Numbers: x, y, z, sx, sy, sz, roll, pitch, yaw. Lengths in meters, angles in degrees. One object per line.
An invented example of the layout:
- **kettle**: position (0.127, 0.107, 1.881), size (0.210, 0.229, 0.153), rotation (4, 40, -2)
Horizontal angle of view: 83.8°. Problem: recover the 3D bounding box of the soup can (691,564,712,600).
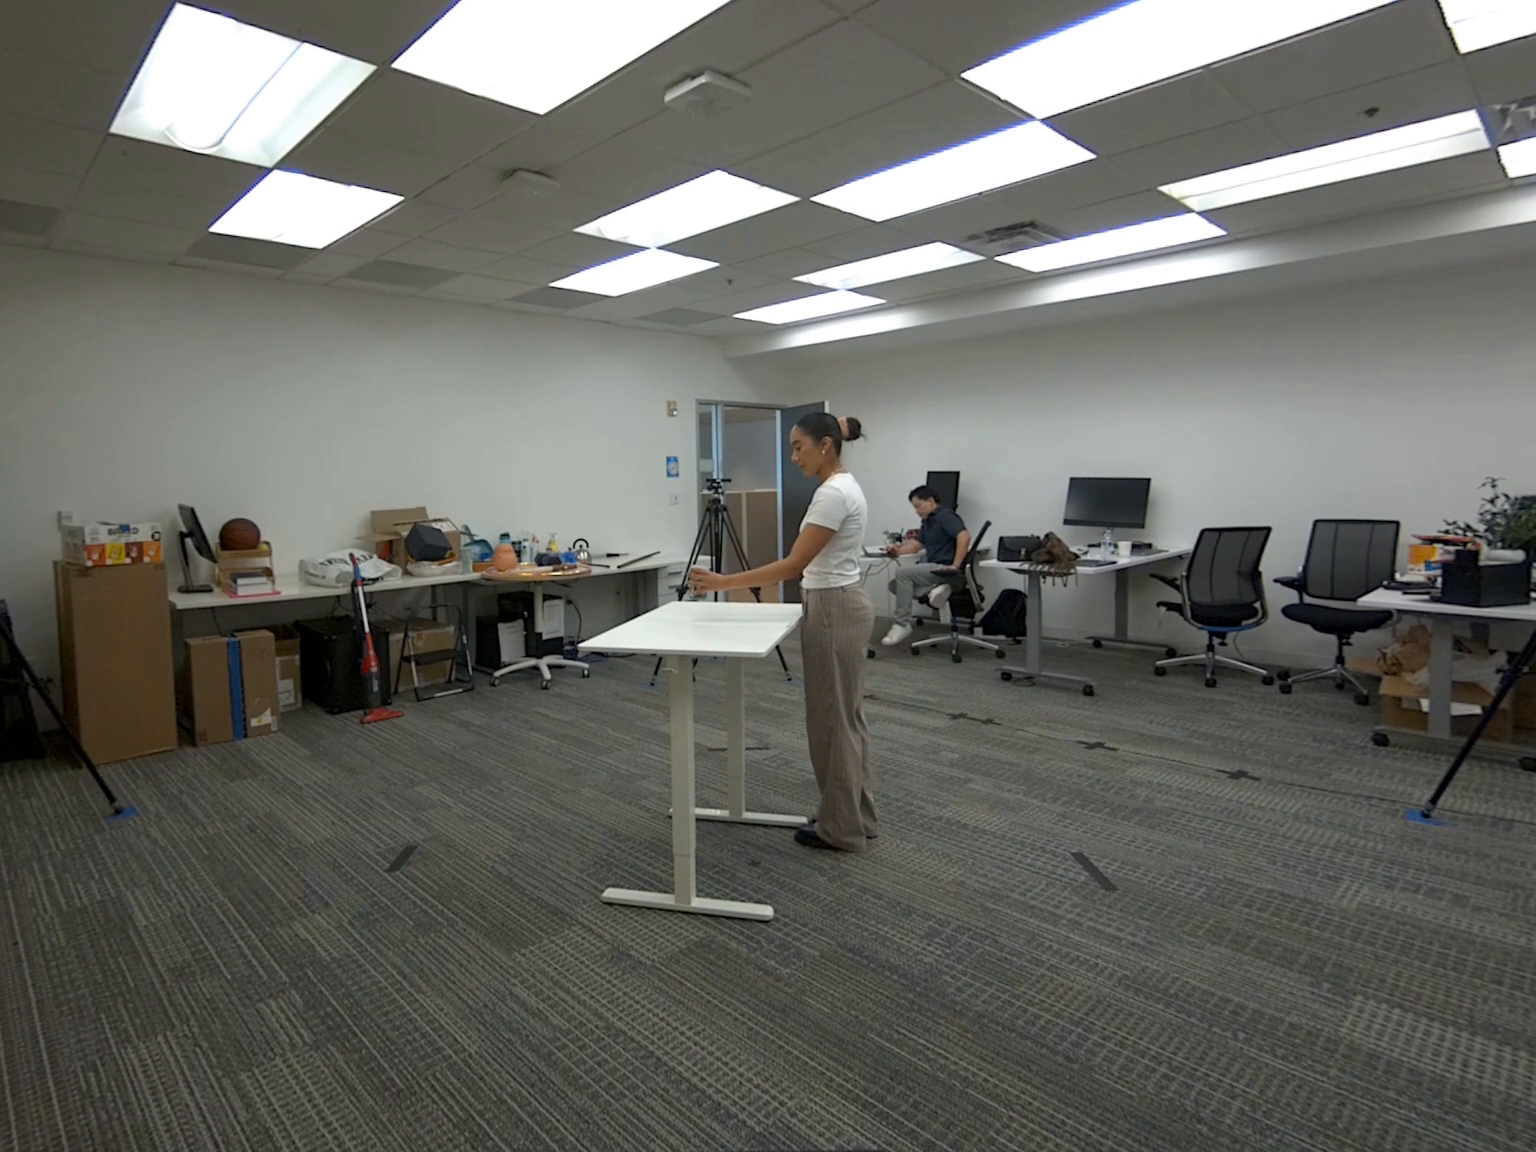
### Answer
- **soup can**: position (-0.242, 0.018, 3.117), size (0.067, 0.121, 0.067), rotation (2, 0, -2)
